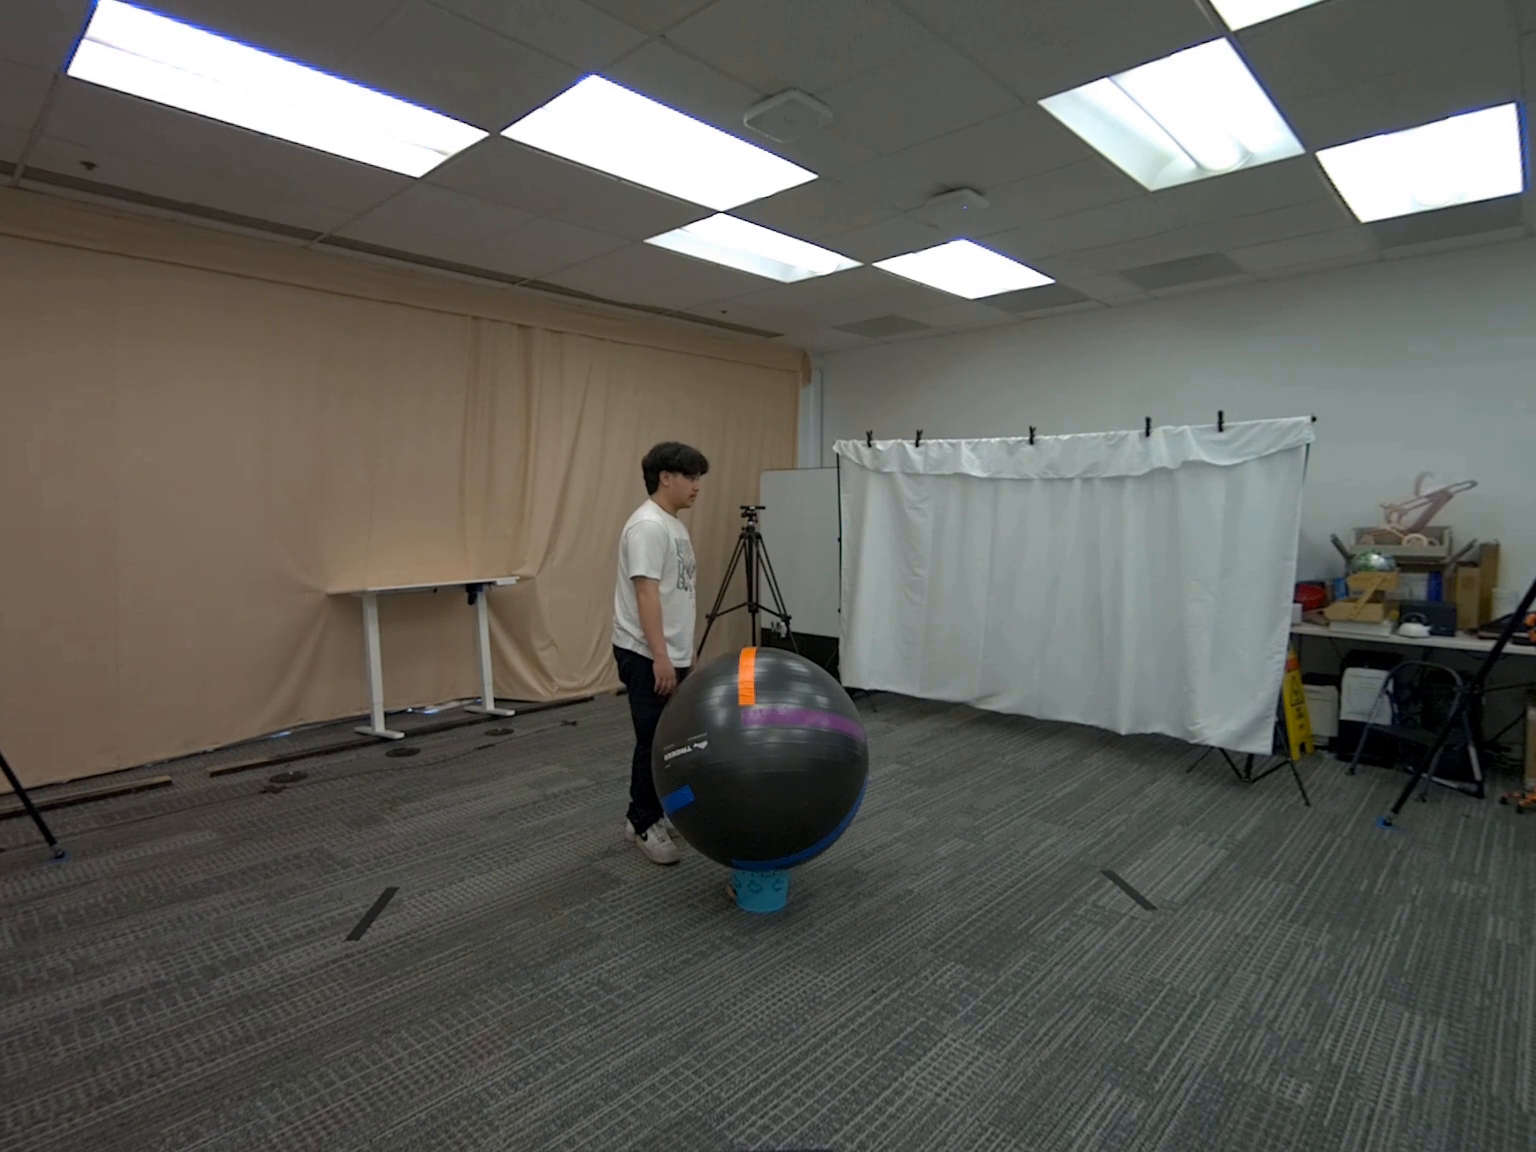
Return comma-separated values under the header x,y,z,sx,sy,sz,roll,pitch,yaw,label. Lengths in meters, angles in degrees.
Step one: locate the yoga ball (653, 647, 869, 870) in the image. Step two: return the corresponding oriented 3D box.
x,y,z,sx,sy,sz,roll,pitch,yaw,label
-0.031,0.634,2.952,0.757,0.756,0.761,0,4,-2,yoga ball
